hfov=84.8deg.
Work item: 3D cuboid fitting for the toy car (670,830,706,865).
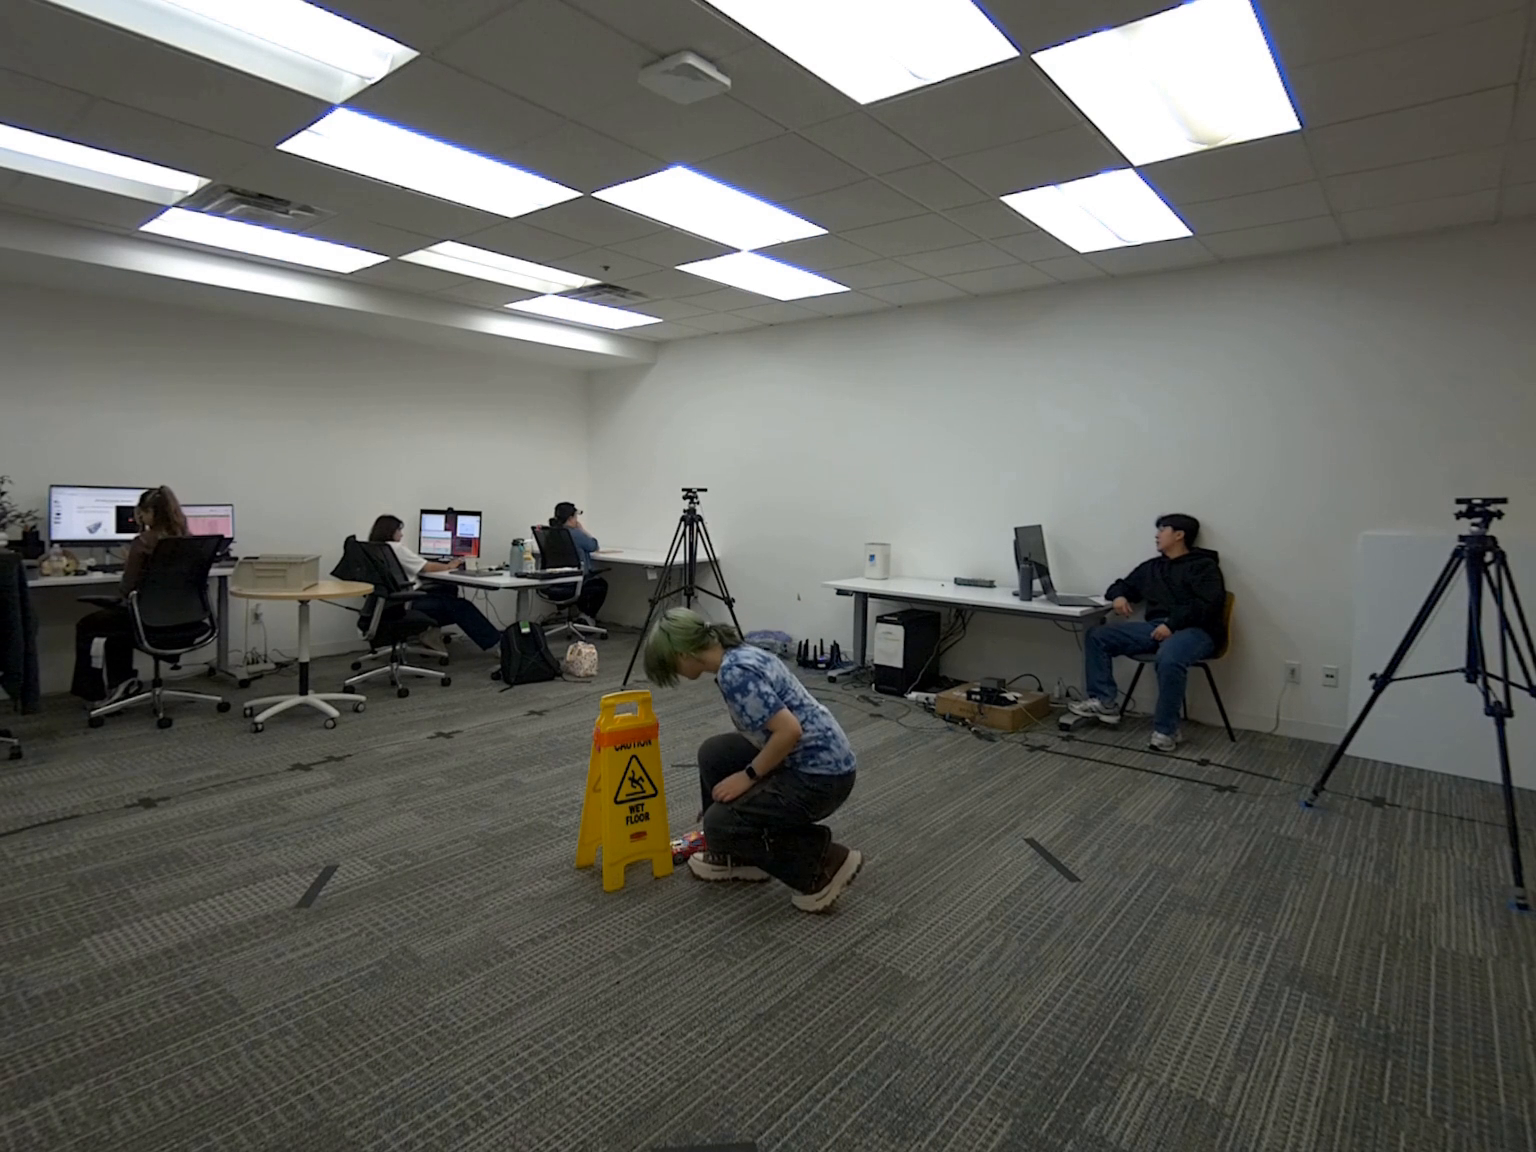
[{"bbox_3d":[-0.290,1.031,3.245,0.250,0.082,0.134,-17,13,-28],"label":"toy car"}]
